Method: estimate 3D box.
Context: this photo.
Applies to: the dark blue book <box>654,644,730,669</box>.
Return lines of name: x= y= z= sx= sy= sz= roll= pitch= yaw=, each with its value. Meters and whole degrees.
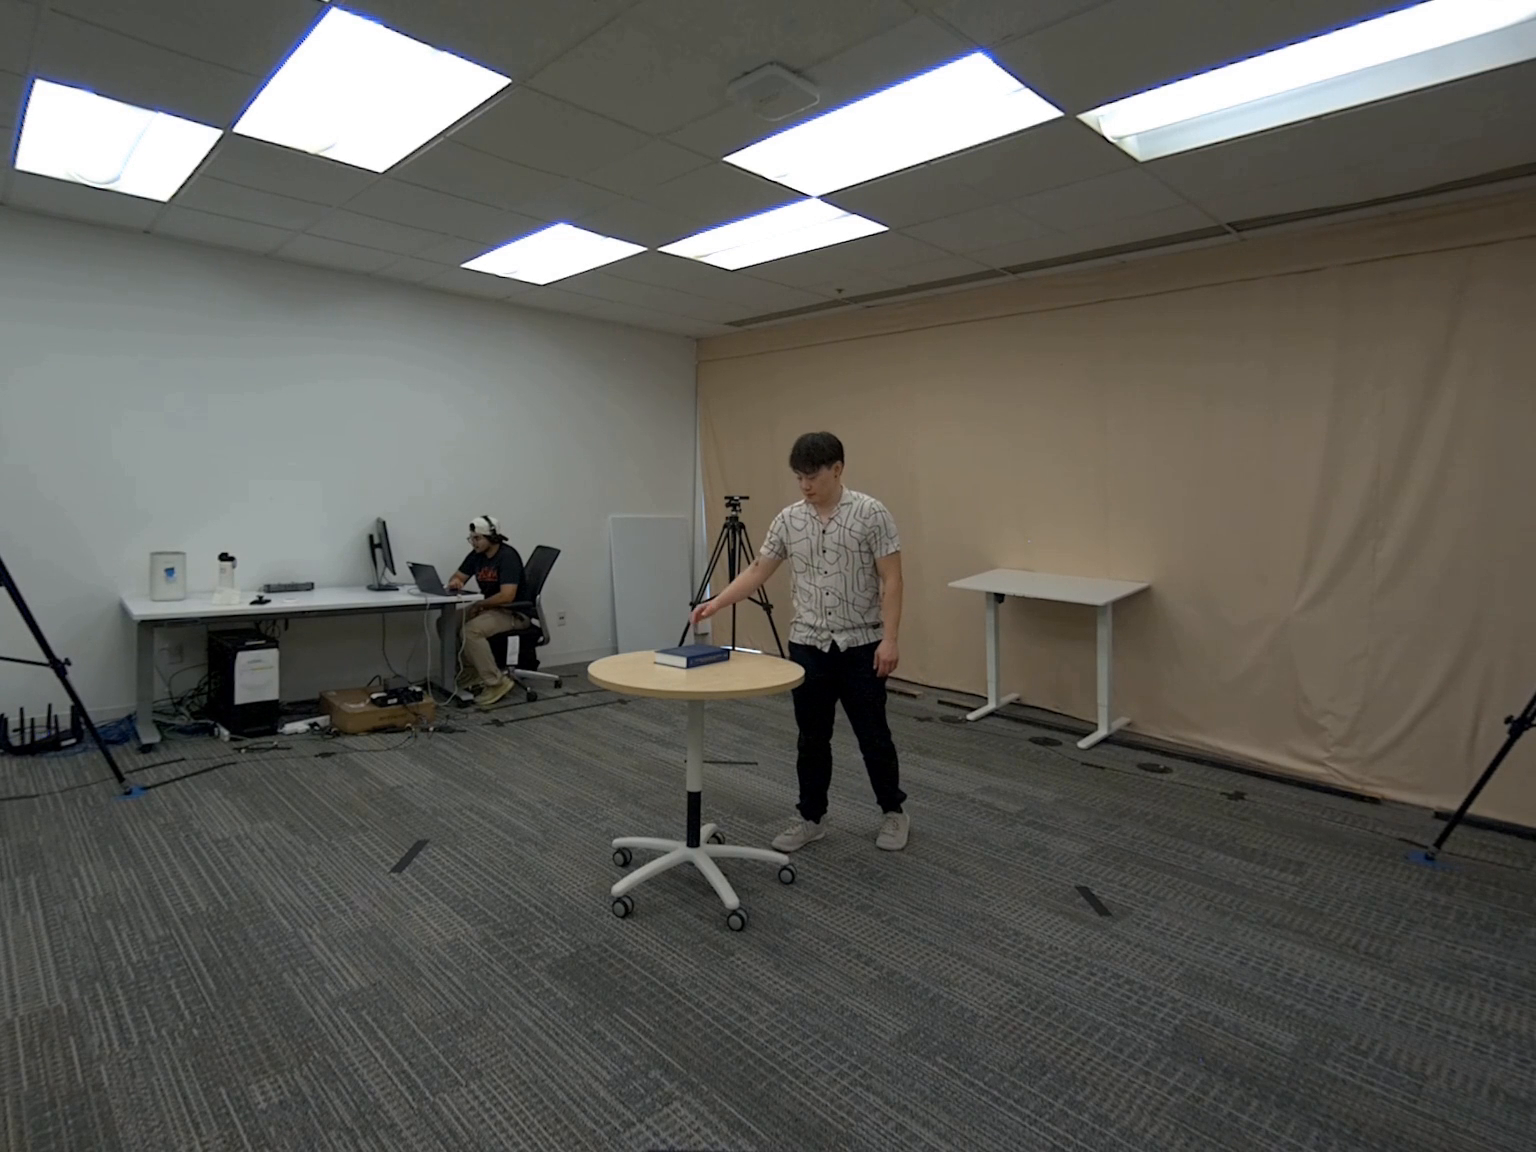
dark blue book: x=-0.292 y=0.293 z=3.106 sx=0.167 sy=0.045 sz=0.240 roll=5 pitch=6 yaw=37
